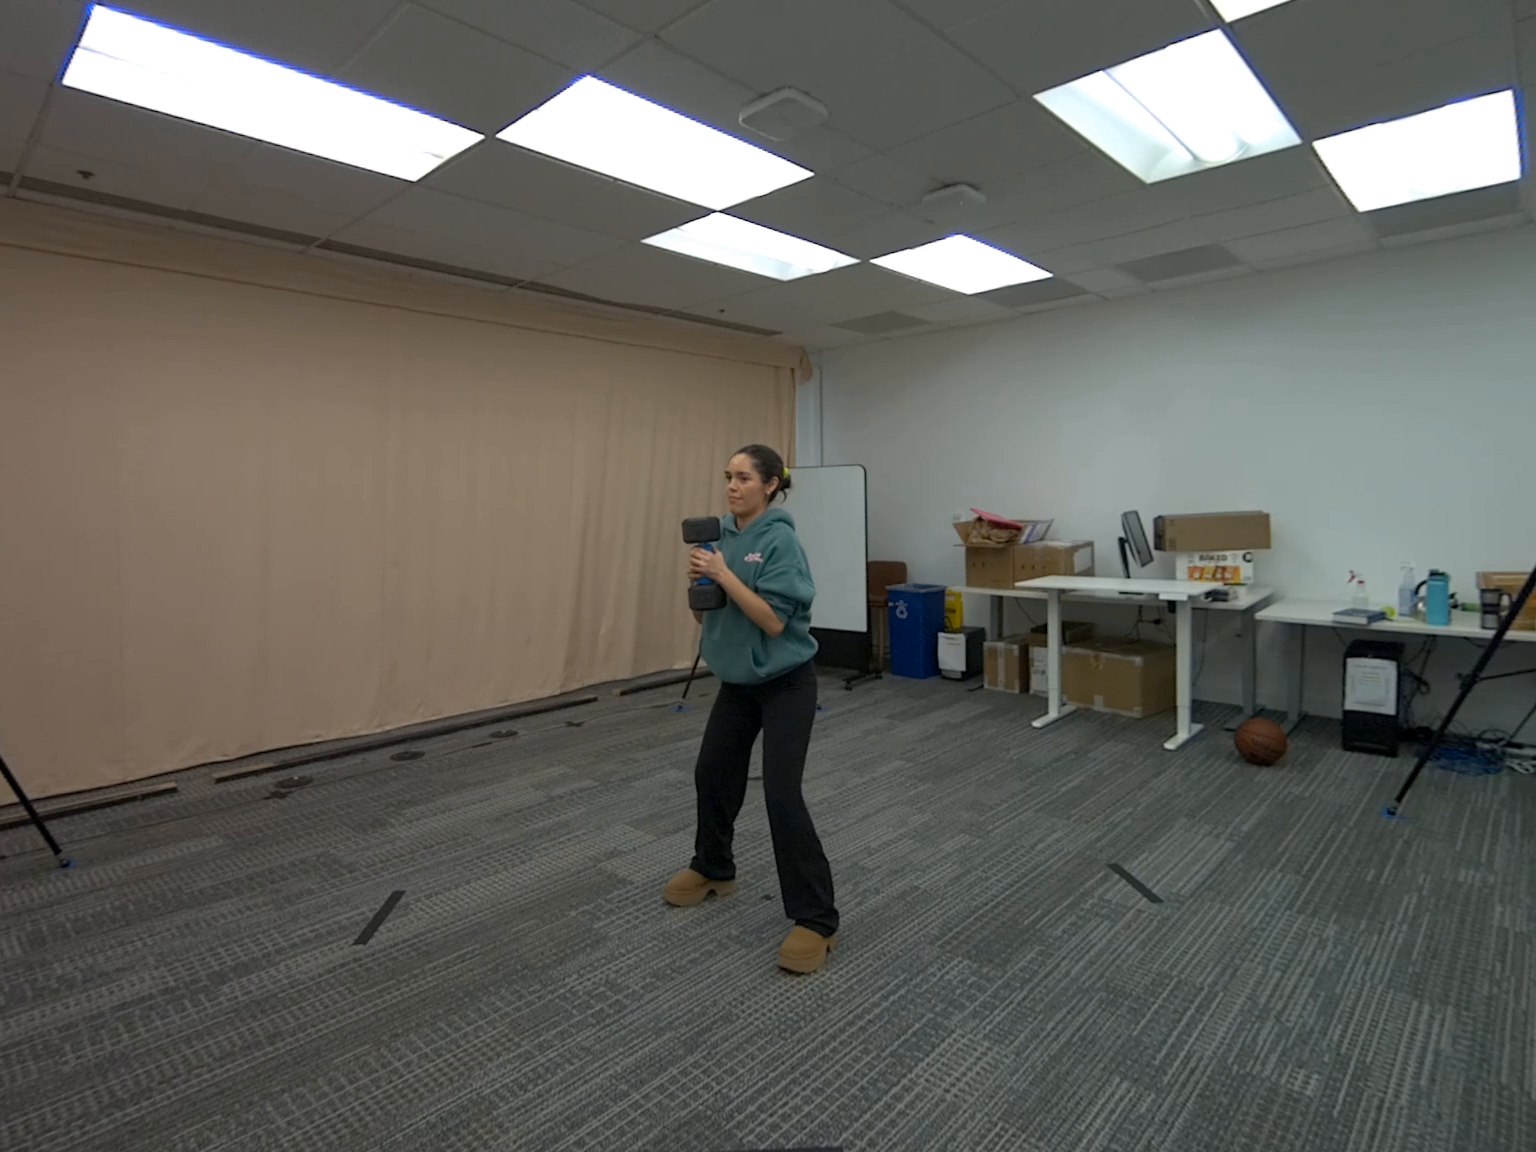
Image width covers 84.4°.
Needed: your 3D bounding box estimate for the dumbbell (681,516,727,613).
[{"bbox_3d":[-0.201,-0.031,2.676,0.123,0.293,0.108,-6,1,4],"label":"dumbbell"}]
